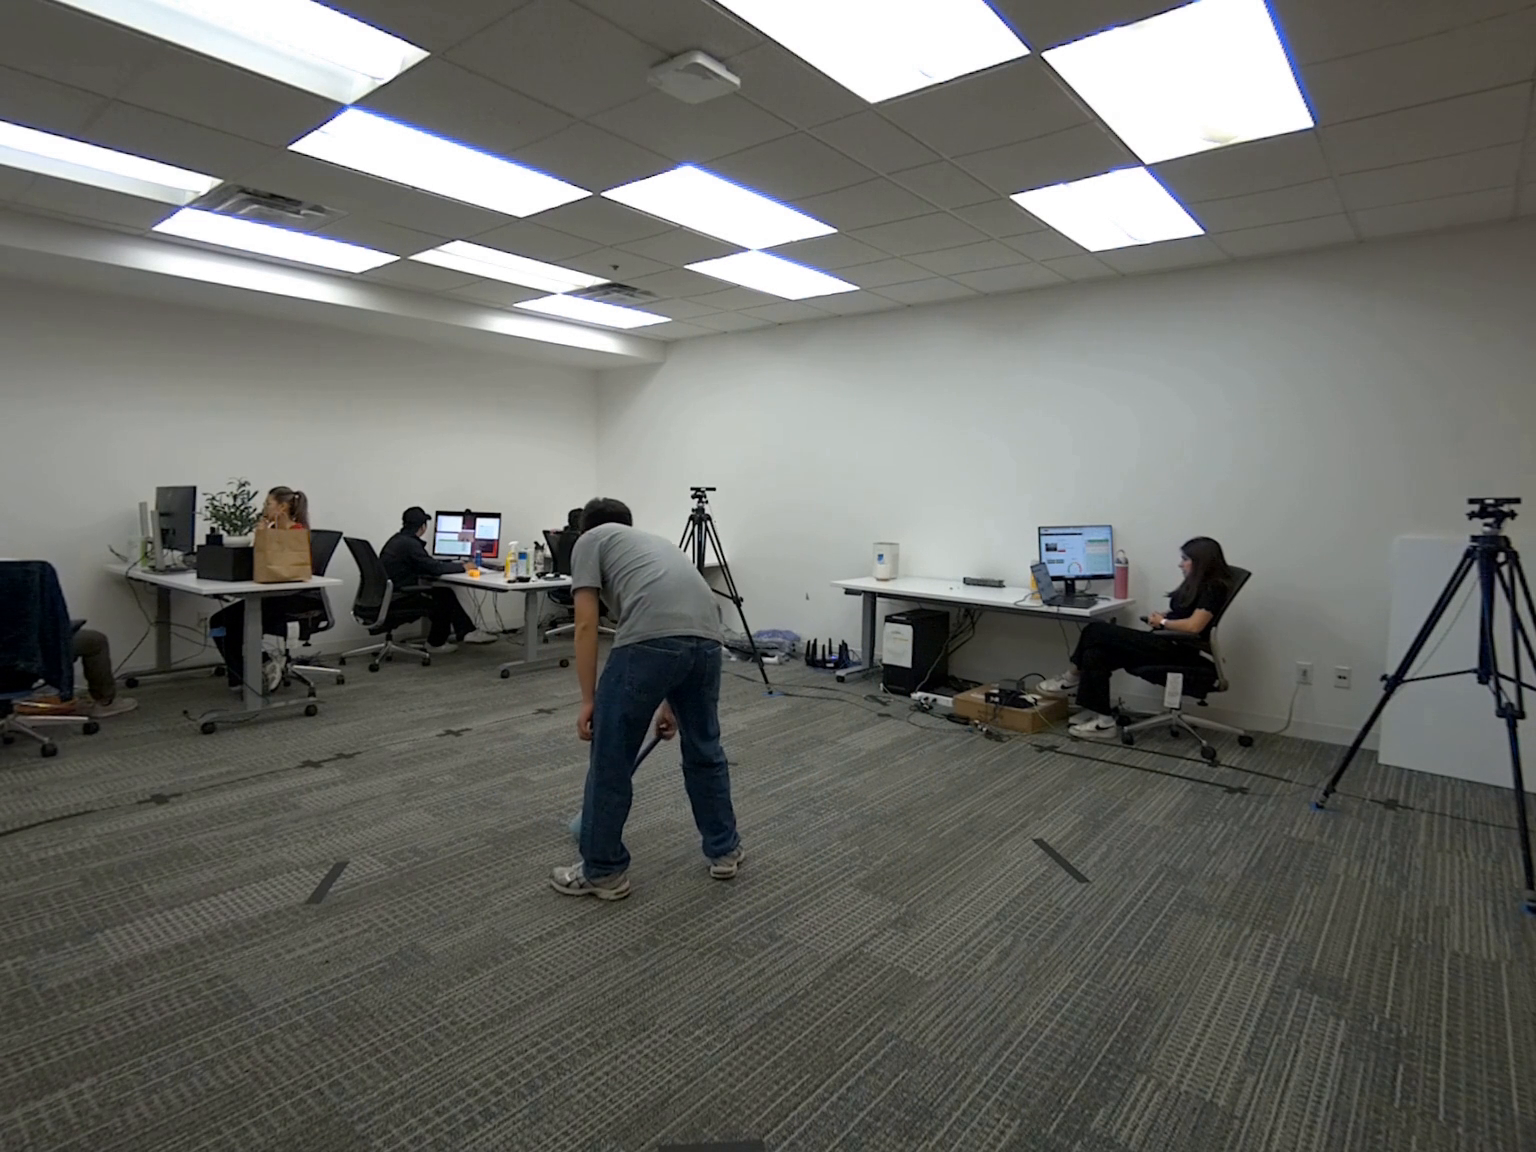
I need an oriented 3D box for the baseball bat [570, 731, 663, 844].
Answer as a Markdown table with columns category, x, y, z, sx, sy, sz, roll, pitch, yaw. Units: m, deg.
| category | x | y | z | sx | sy | sz | roll | pitch | yaw |
| --- | --- | --- | --- | --- | --- | --- | --- | --- | --- |
| baseball bat | -0.580 | 0.804 | 3.341 | 0.089 | 0.543 | 0.089 | 39 | -1 | -2 |
